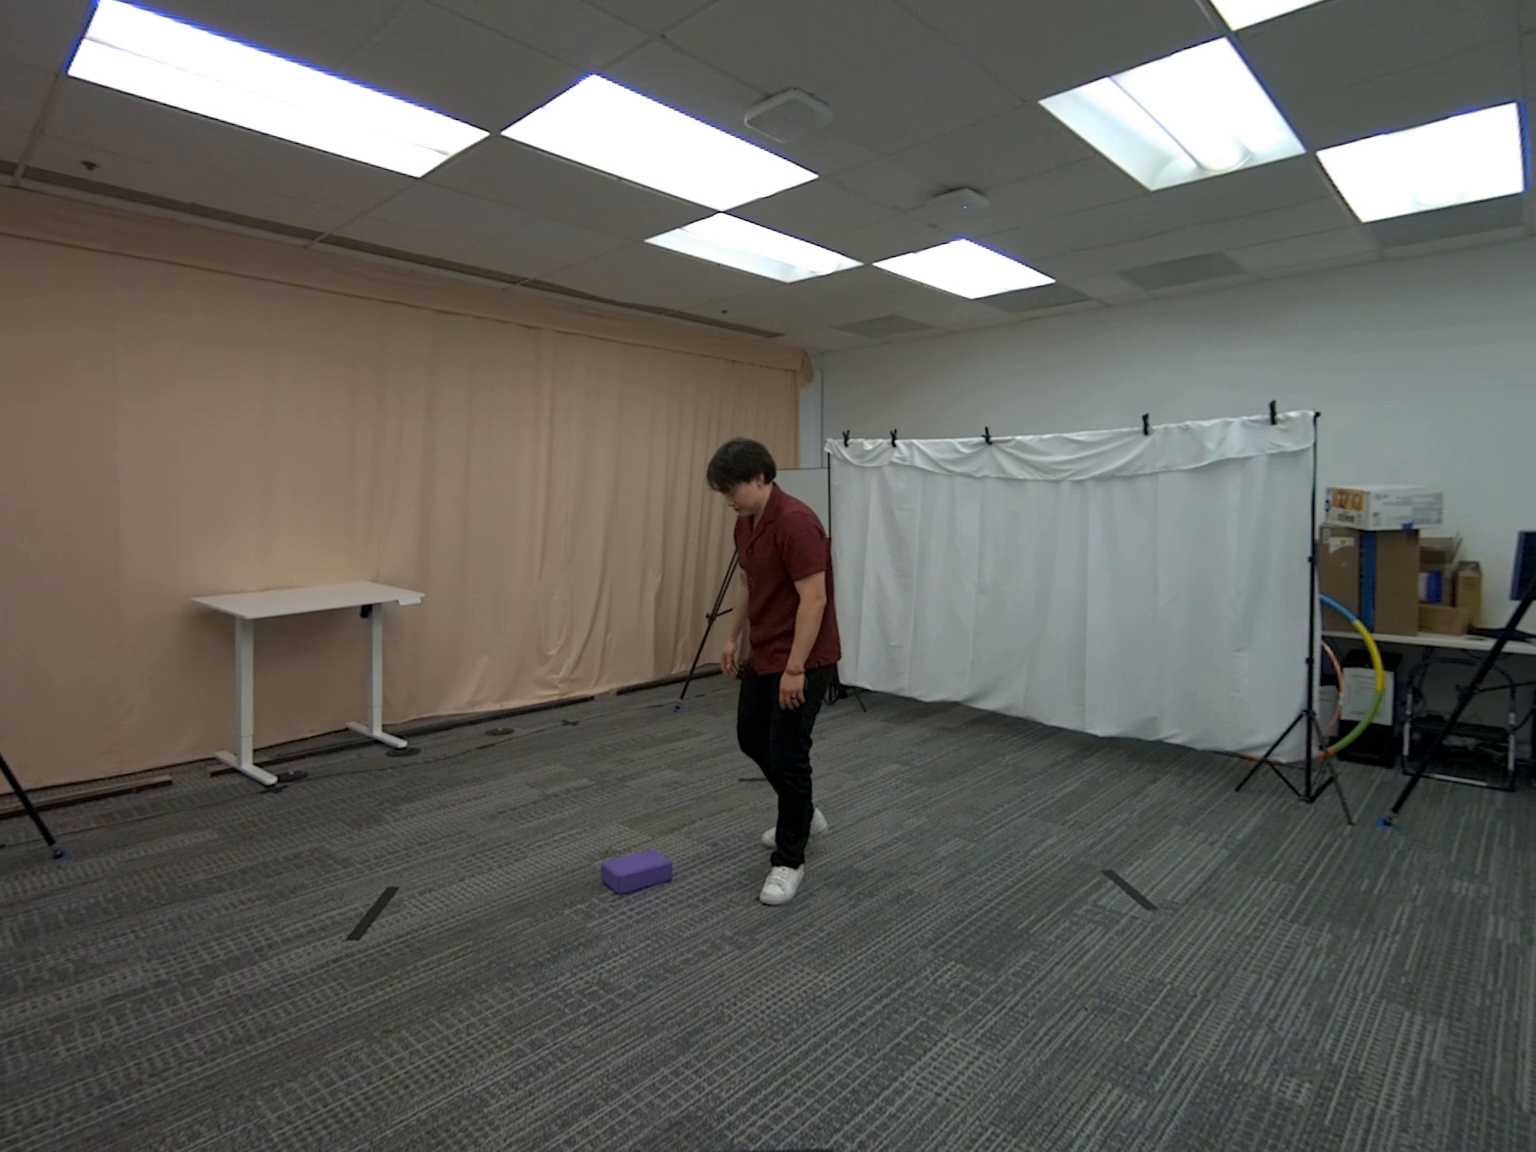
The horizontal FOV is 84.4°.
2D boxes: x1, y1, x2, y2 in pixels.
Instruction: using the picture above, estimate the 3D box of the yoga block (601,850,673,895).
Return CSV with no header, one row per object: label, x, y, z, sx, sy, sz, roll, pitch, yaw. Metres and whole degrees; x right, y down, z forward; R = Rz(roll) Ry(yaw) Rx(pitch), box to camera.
yoga block,-0.486,1.100,3.130,0.223,0.076,0.153,-3,5,-35
